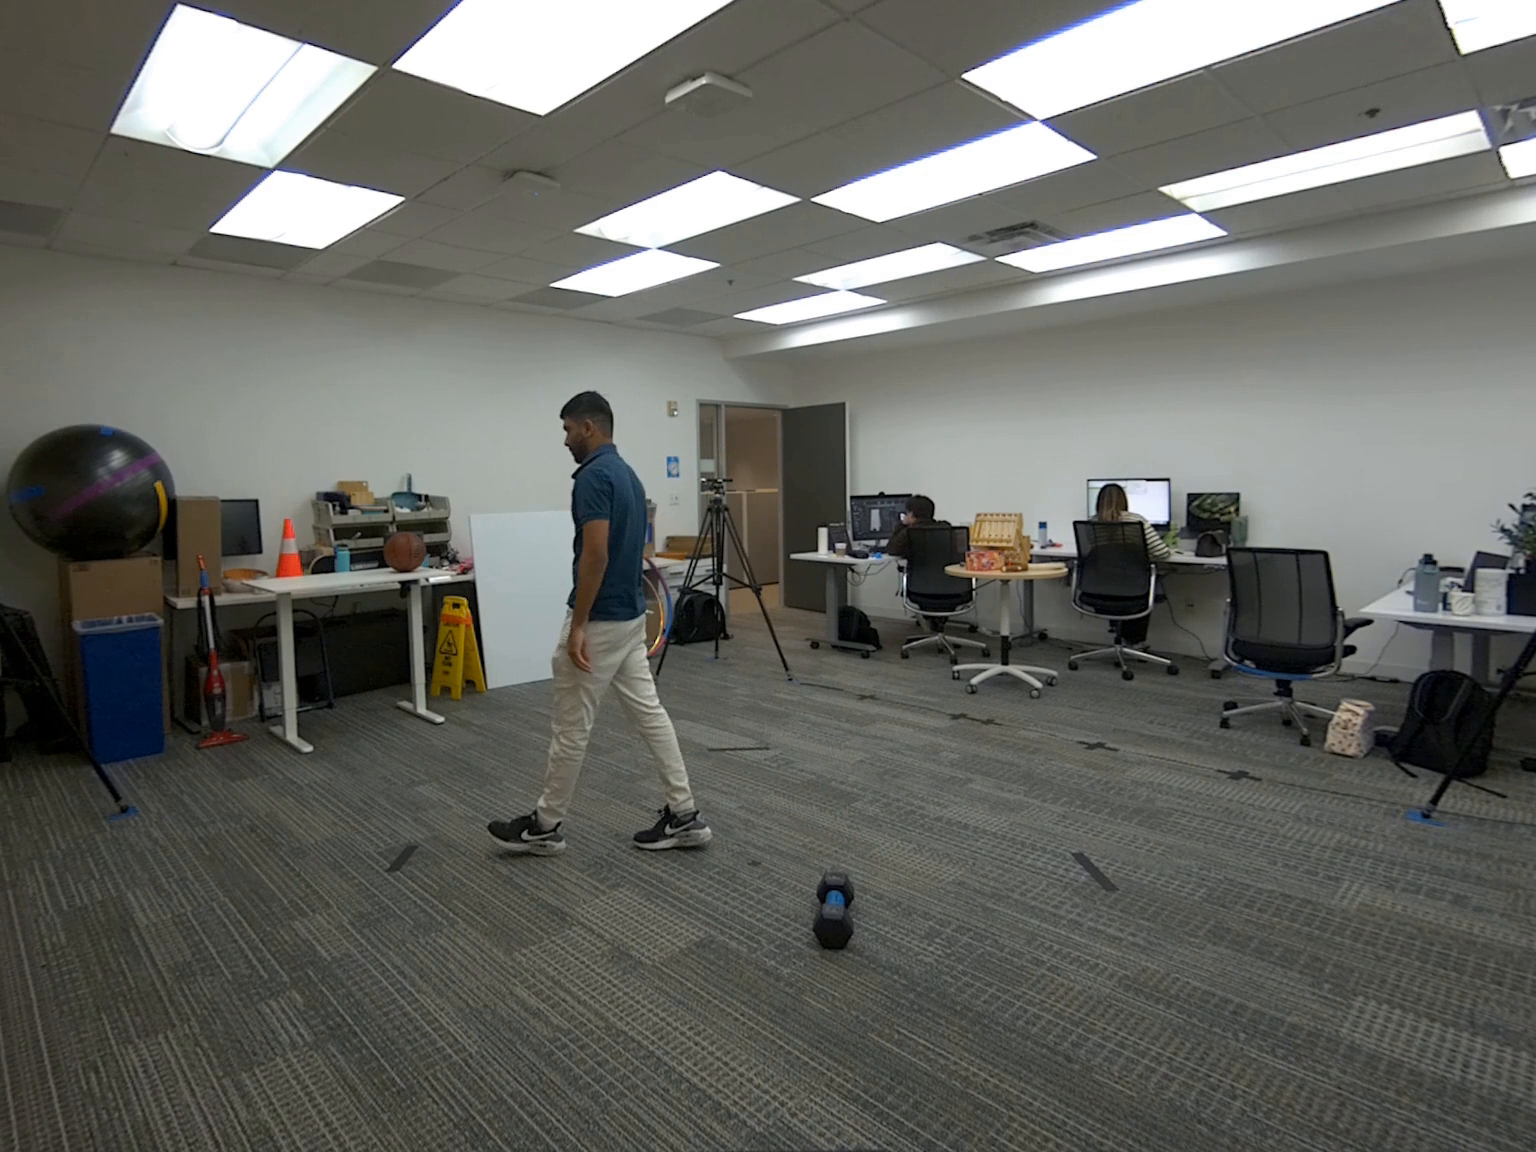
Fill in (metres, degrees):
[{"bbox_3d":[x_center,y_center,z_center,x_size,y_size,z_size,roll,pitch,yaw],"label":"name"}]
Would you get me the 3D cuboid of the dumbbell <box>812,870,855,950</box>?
[{"bbox_3d":[0.218,1.037,2.663,0.124,0.108,0.292,0,6,7],"label":"dumbbell"}]
